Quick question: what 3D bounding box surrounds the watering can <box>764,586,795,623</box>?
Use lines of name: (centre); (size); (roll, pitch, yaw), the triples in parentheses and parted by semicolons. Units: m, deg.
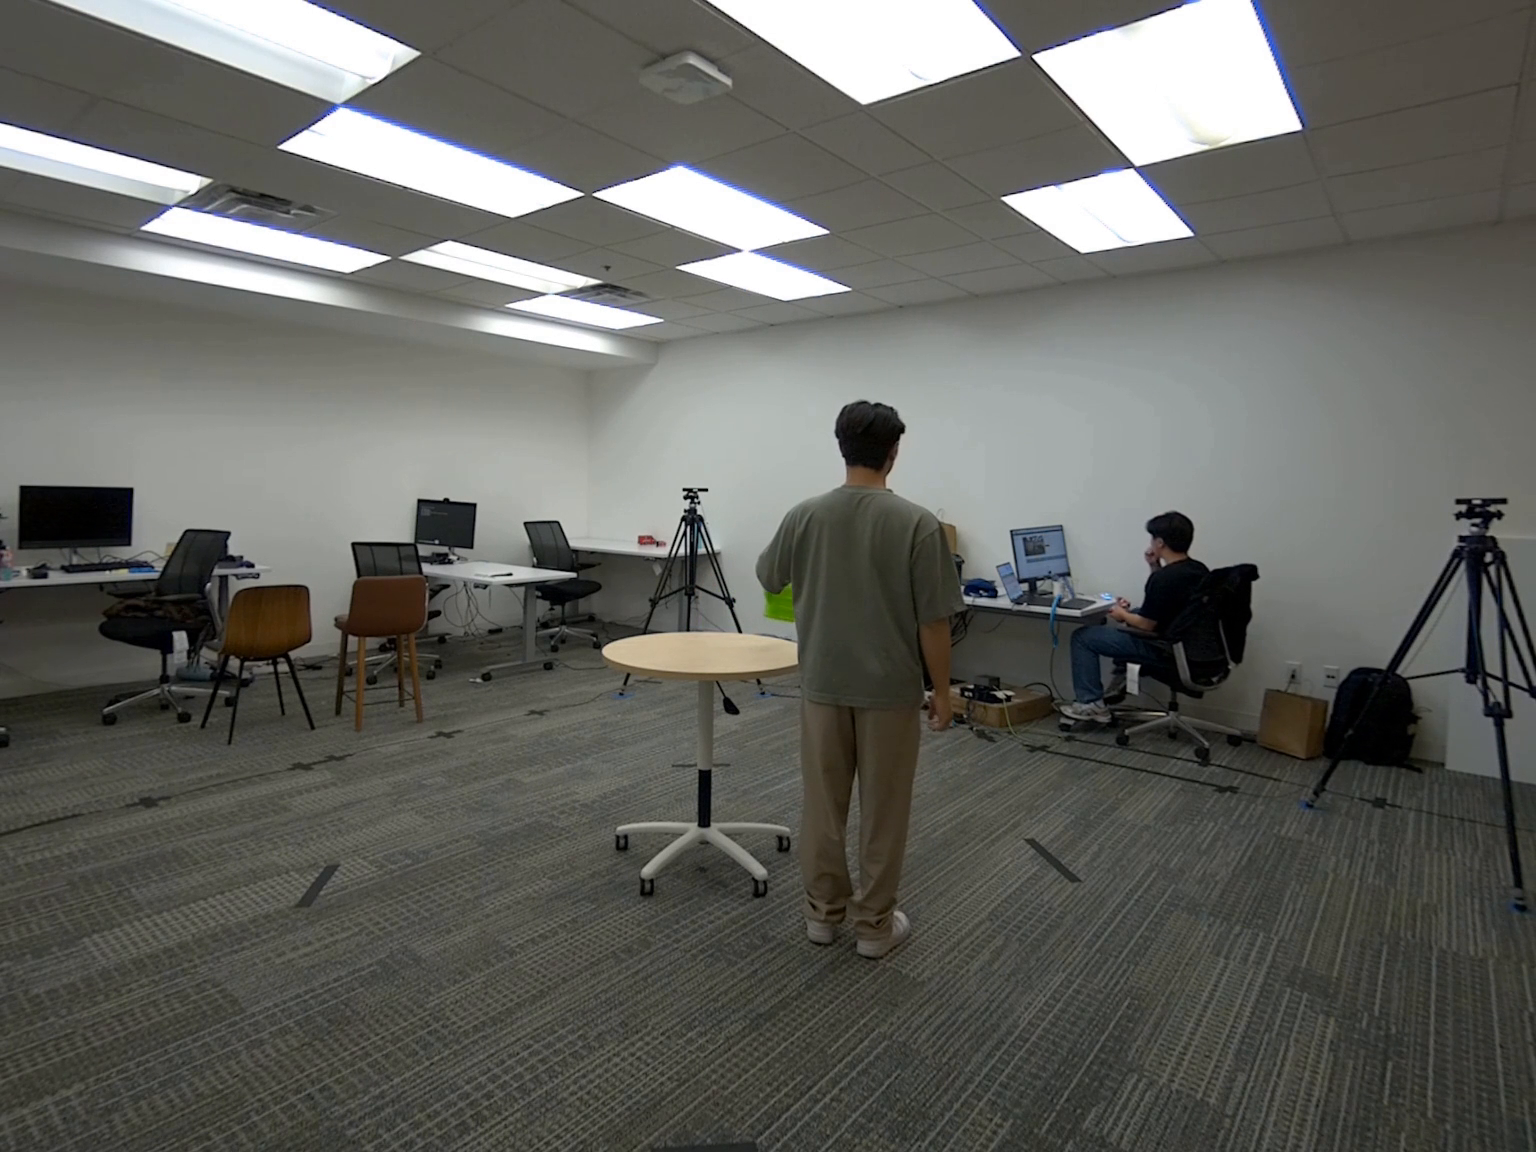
watering can: (0.089, 0.080, 3.163); (0.270, 0.178, 0.100); (8, -6, -27)
